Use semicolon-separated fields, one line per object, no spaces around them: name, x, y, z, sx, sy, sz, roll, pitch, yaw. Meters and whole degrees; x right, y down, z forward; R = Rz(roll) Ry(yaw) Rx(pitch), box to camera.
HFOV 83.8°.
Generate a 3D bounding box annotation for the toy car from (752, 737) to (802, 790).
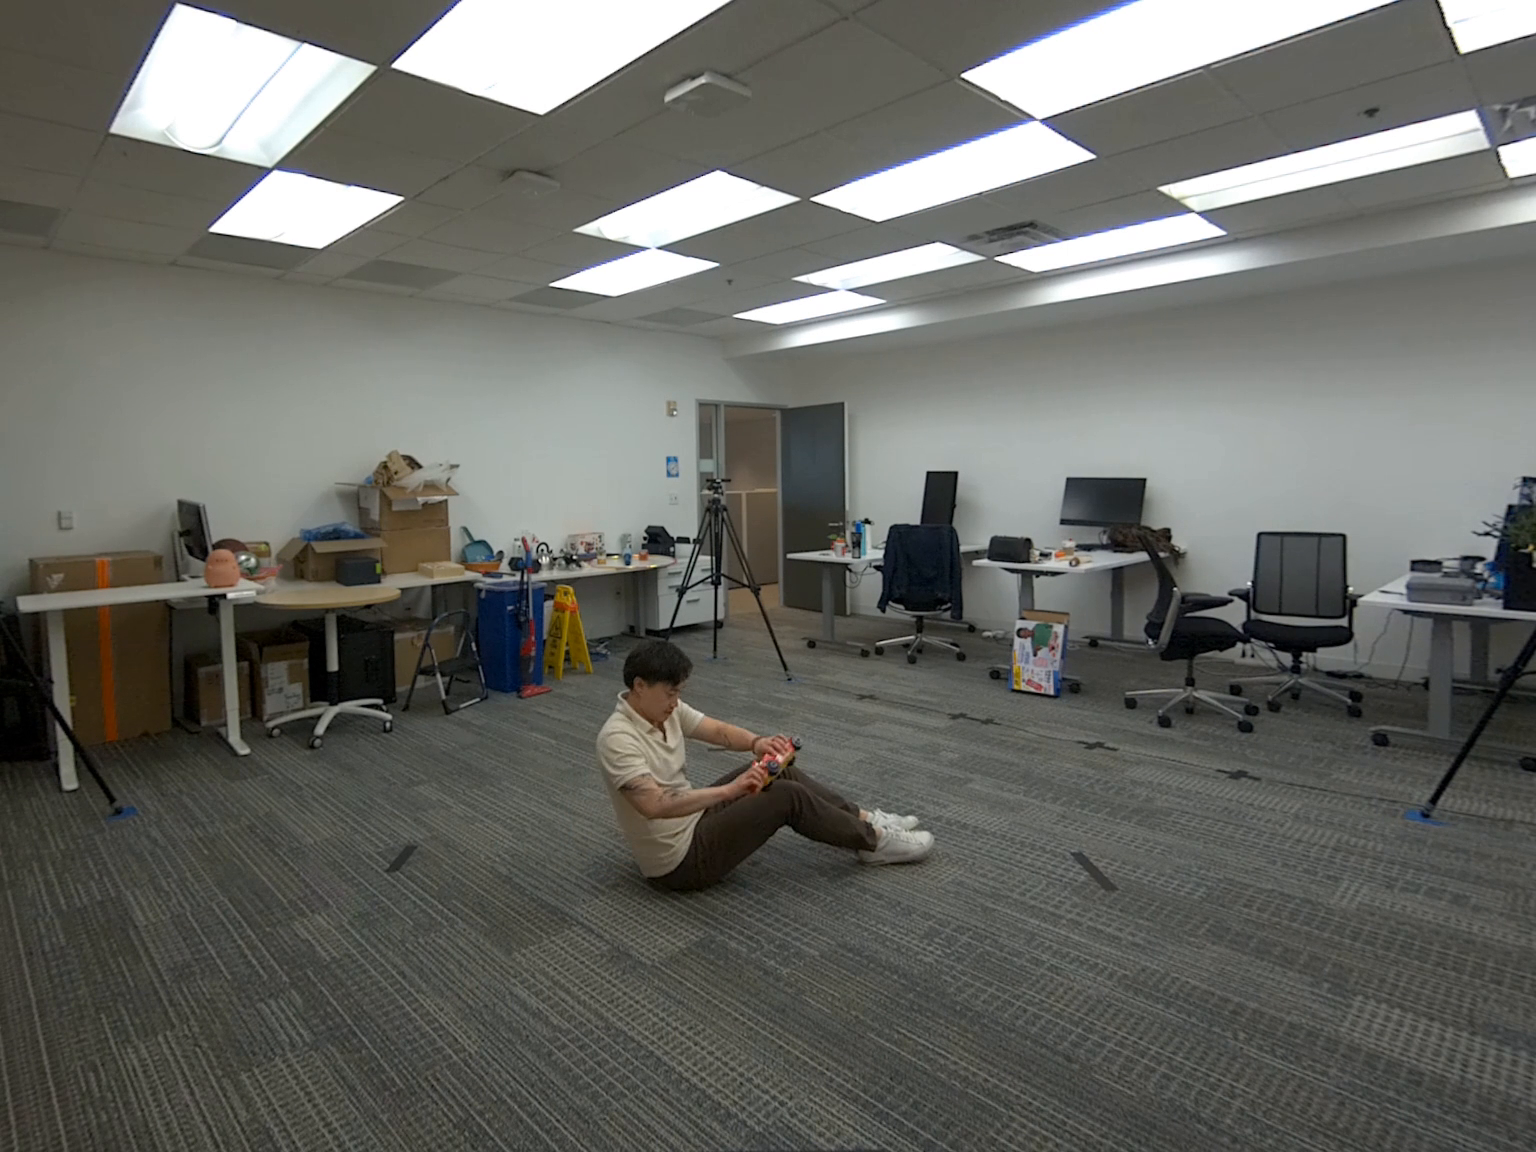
toy car;0.003;0.633;2.828;0.250;0.128;0.086;-21;58;-36
